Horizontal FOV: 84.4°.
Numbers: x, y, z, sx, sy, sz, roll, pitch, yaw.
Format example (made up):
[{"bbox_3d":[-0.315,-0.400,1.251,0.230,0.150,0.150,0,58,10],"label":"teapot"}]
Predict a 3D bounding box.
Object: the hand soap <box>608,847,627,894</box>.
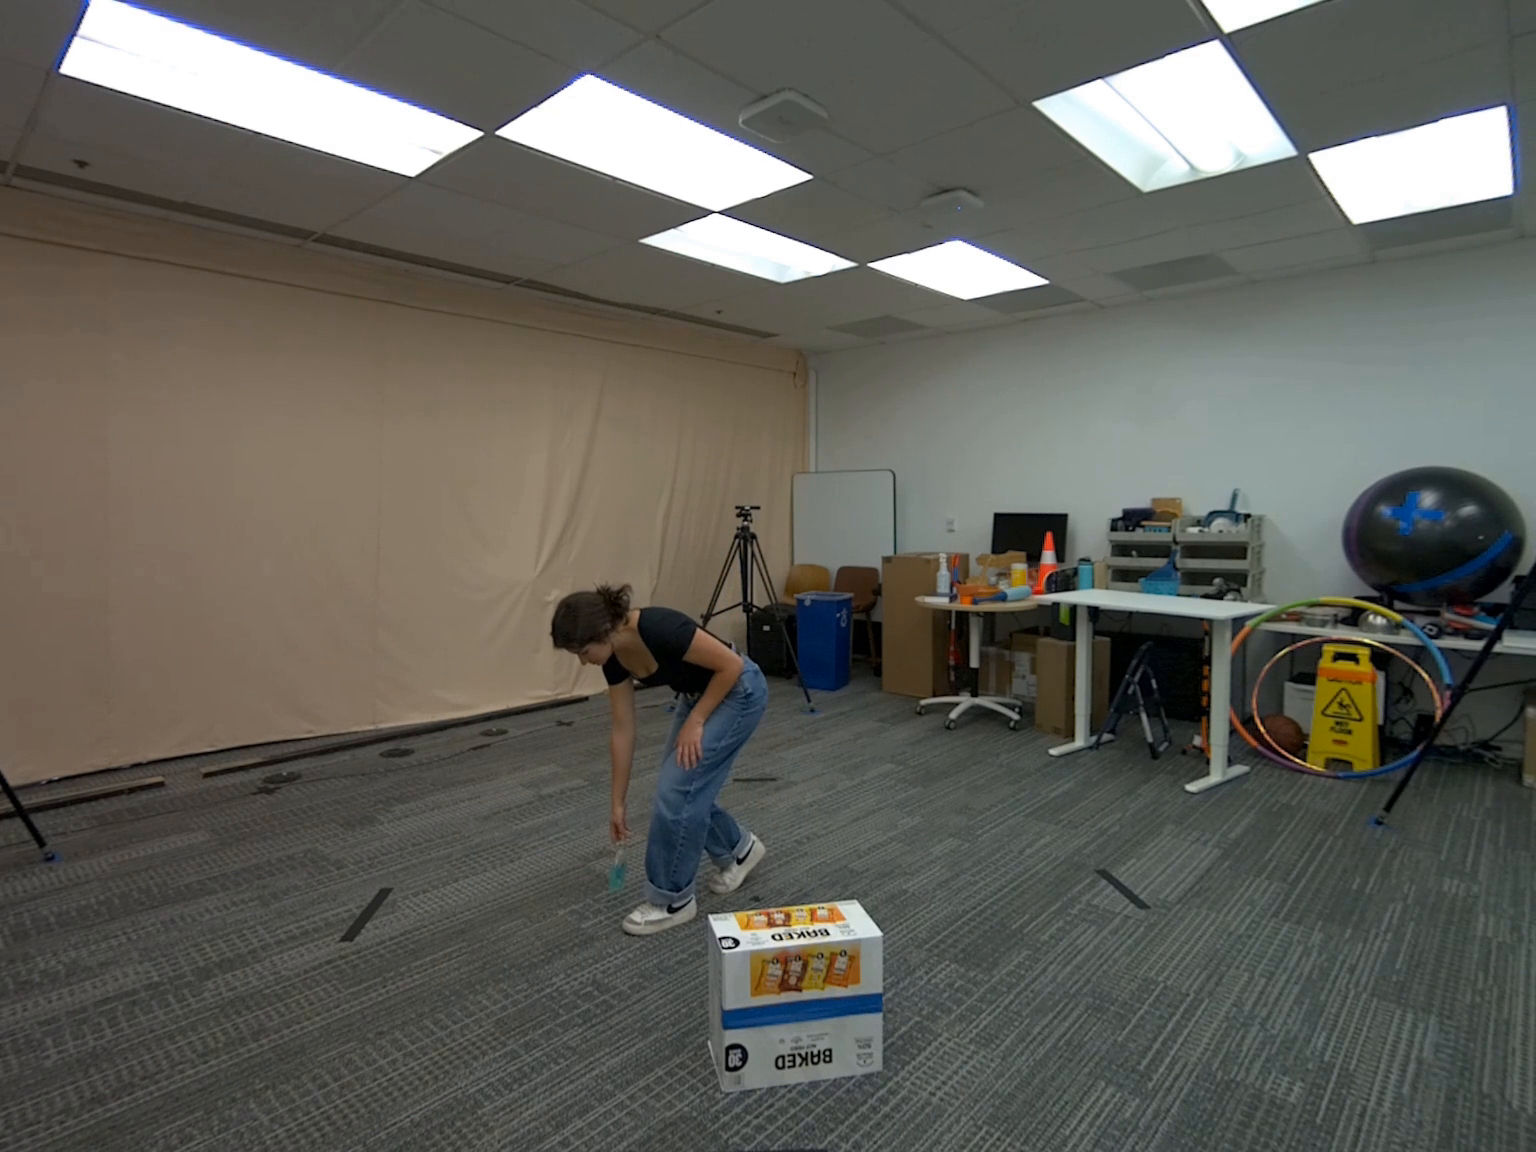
[{"bbox_3d":[-0.501,0.980,2.876,0.044,0.168,0.083,9,5,12],"label":"hand soap"}]
